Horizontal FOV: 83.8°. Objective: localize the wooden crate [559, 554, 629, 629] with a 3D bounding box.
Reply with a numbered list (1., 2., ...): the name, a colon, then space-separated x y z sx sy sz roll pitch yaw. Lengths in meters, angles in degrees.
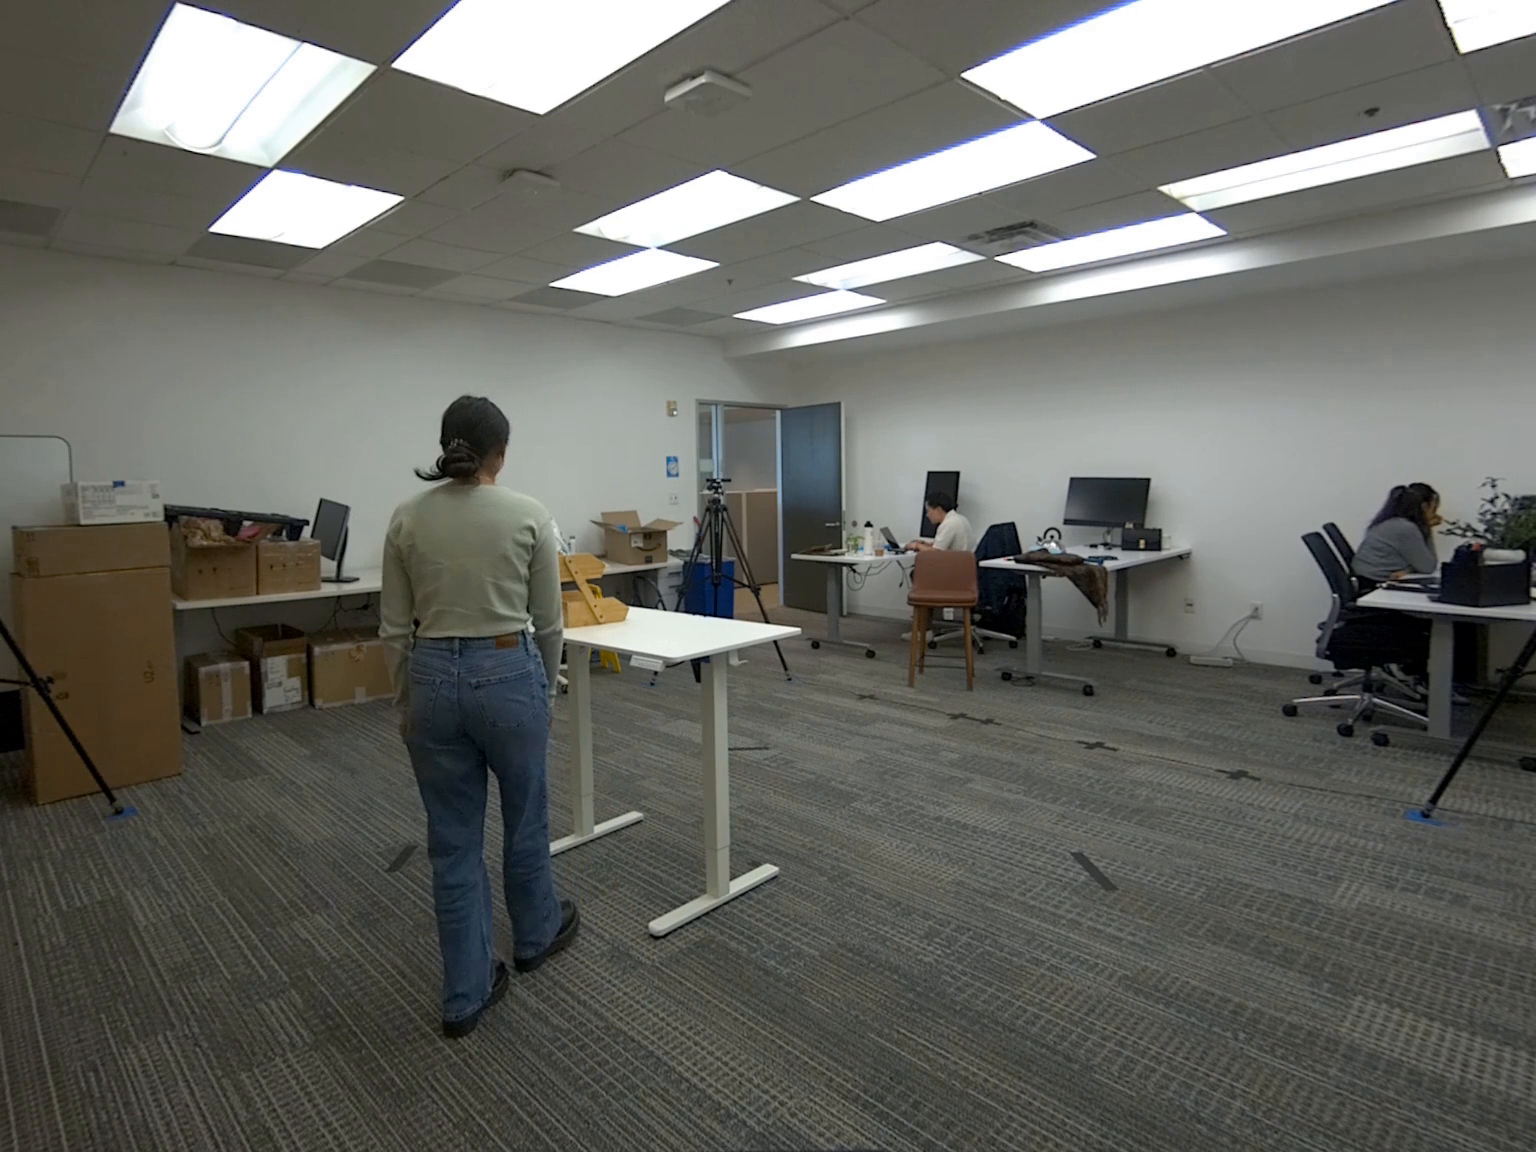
1. wooden crate: -0.720 0.035 3.191 0.294 0.272 0.334 -6 6 -36
